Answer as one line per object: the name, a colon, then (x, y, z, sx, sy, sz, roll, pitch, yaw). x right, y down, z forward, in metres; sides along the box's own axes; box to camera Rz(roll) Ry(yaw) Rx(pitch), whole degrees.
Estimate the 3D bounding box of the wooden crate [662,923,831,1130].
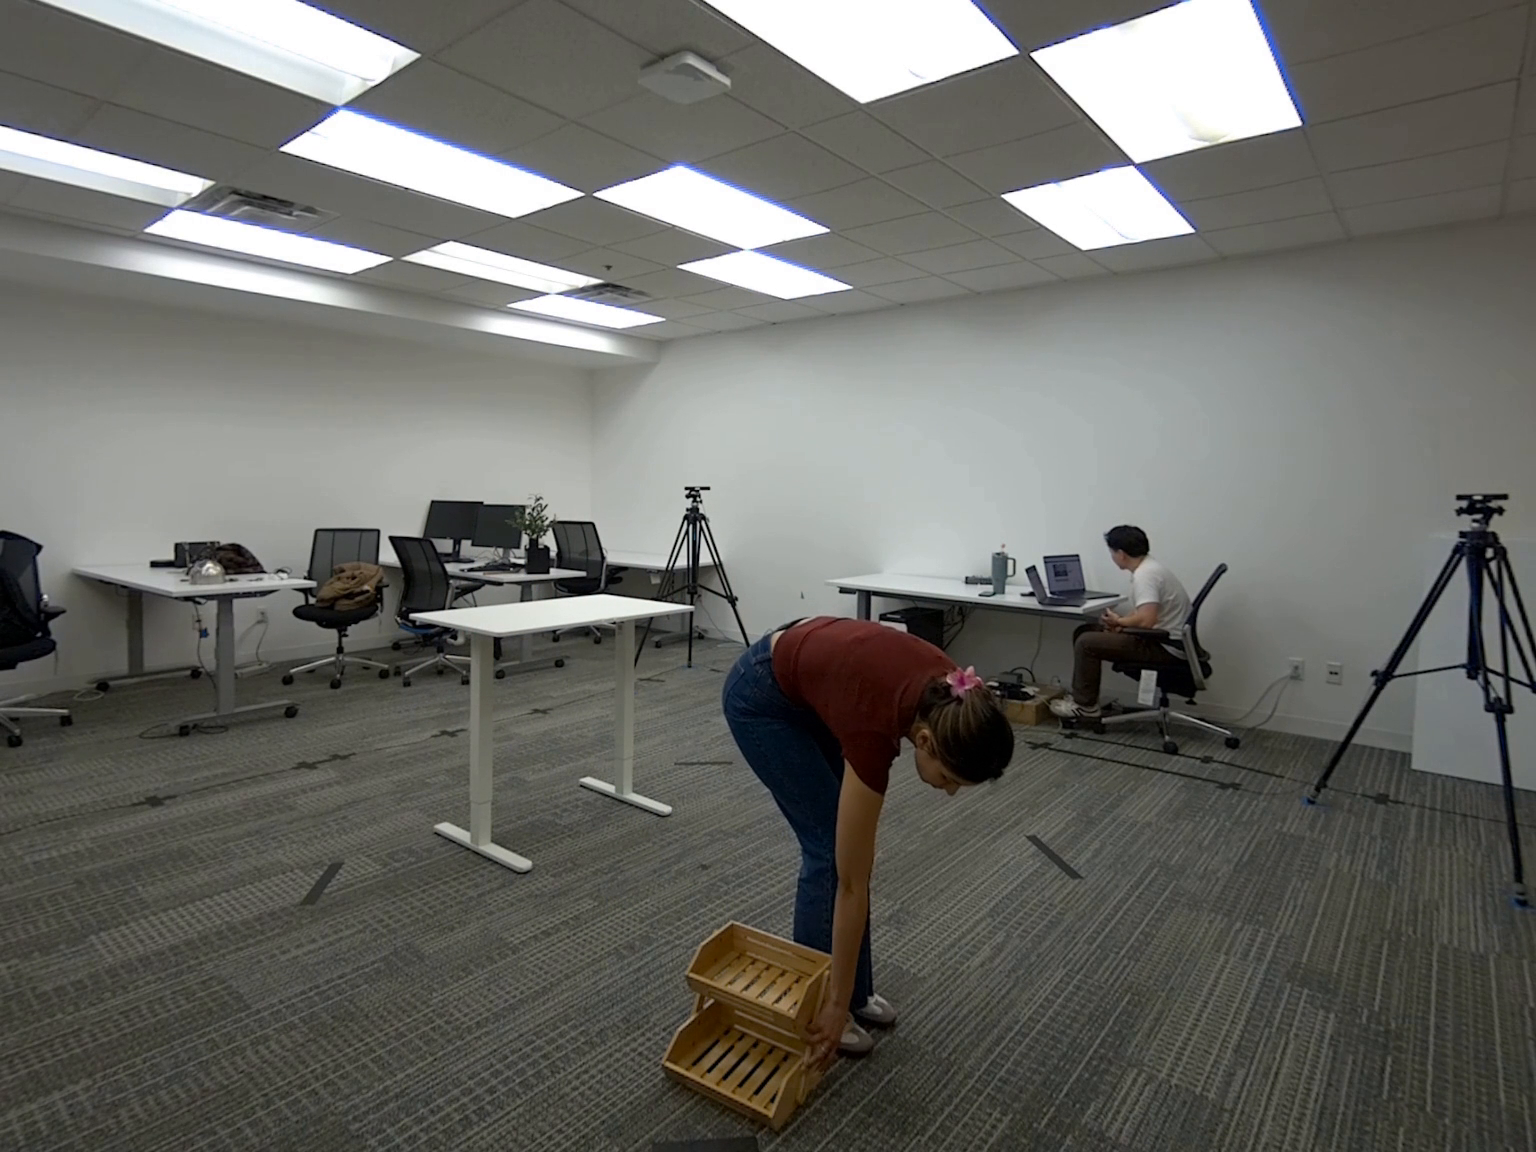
wooden crate: (-0.050, 1.049, 2.023, 0.334, 0.272, 0.294, 4, 5, 32)
